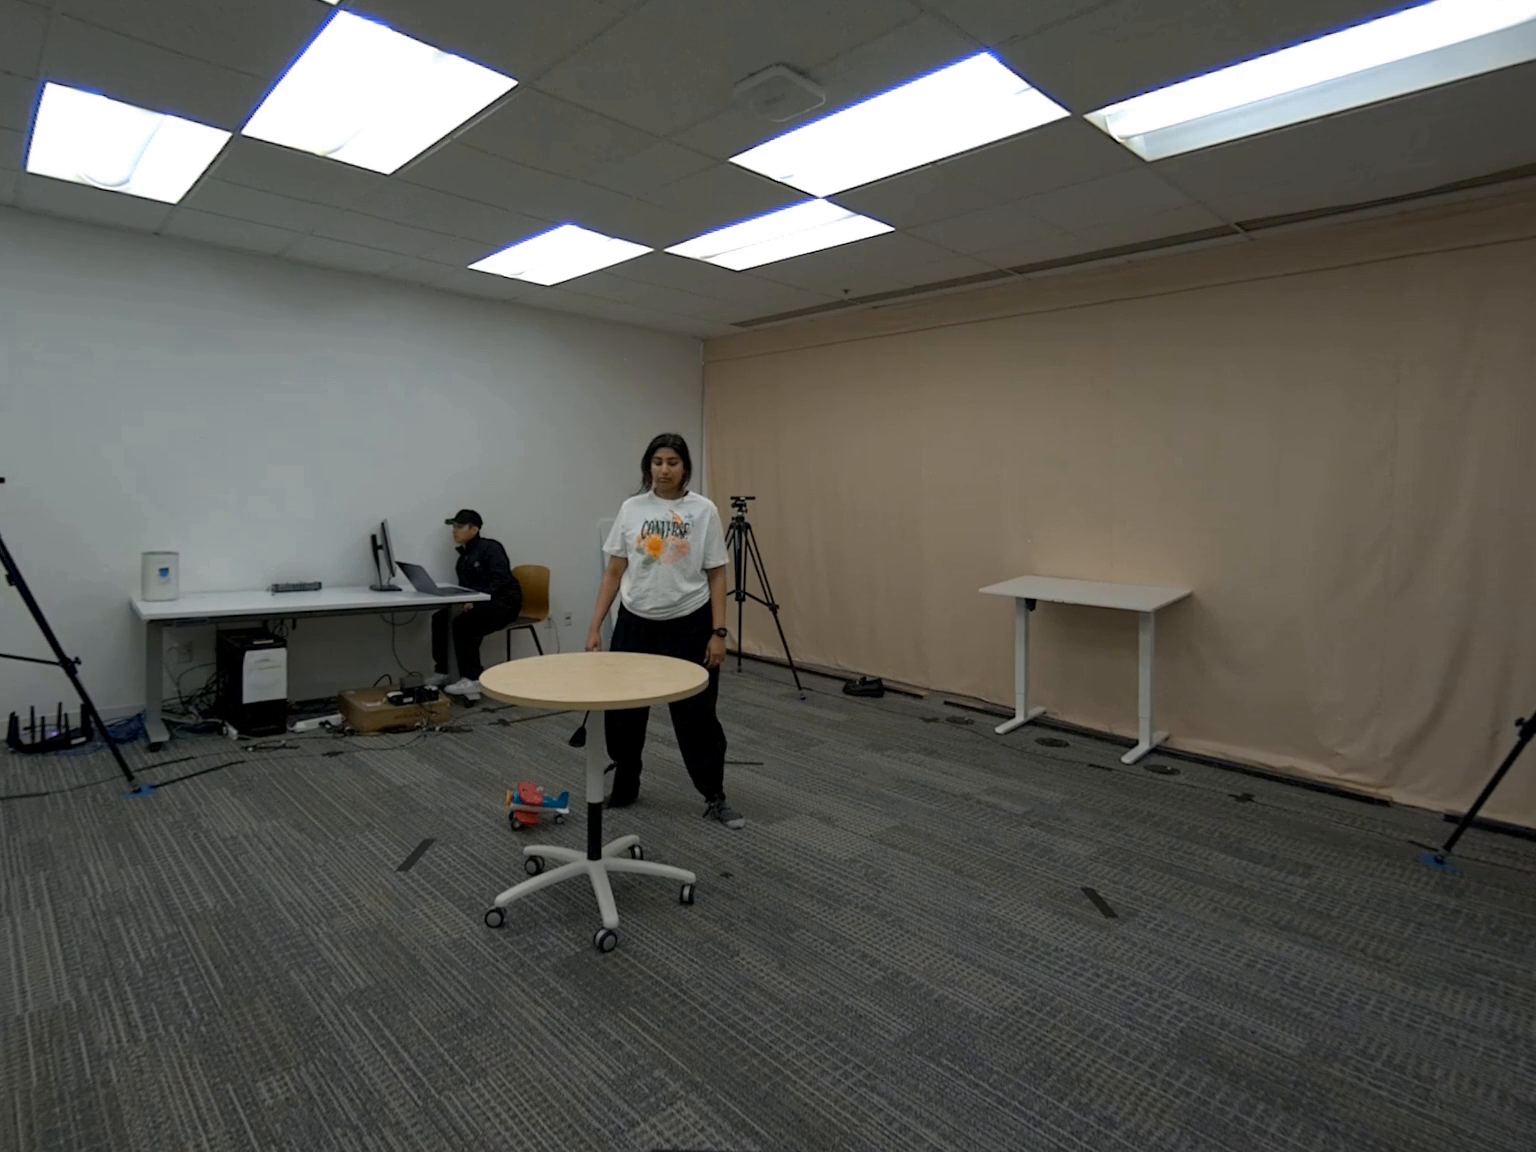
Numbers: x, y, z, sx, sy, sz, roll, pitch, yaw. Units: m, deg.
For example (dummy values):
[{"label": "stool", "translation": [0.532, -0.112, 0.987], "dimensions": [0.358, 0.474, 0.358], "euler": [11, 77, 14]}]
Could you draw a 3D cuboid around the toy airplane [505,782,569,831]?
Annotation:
[{"label": "toy airplane", "translation": [-0.994, 0.971, 3.560], "dimensions": [0.257, 0.156, 0.253], "euler": [5, 7, 40]}]
